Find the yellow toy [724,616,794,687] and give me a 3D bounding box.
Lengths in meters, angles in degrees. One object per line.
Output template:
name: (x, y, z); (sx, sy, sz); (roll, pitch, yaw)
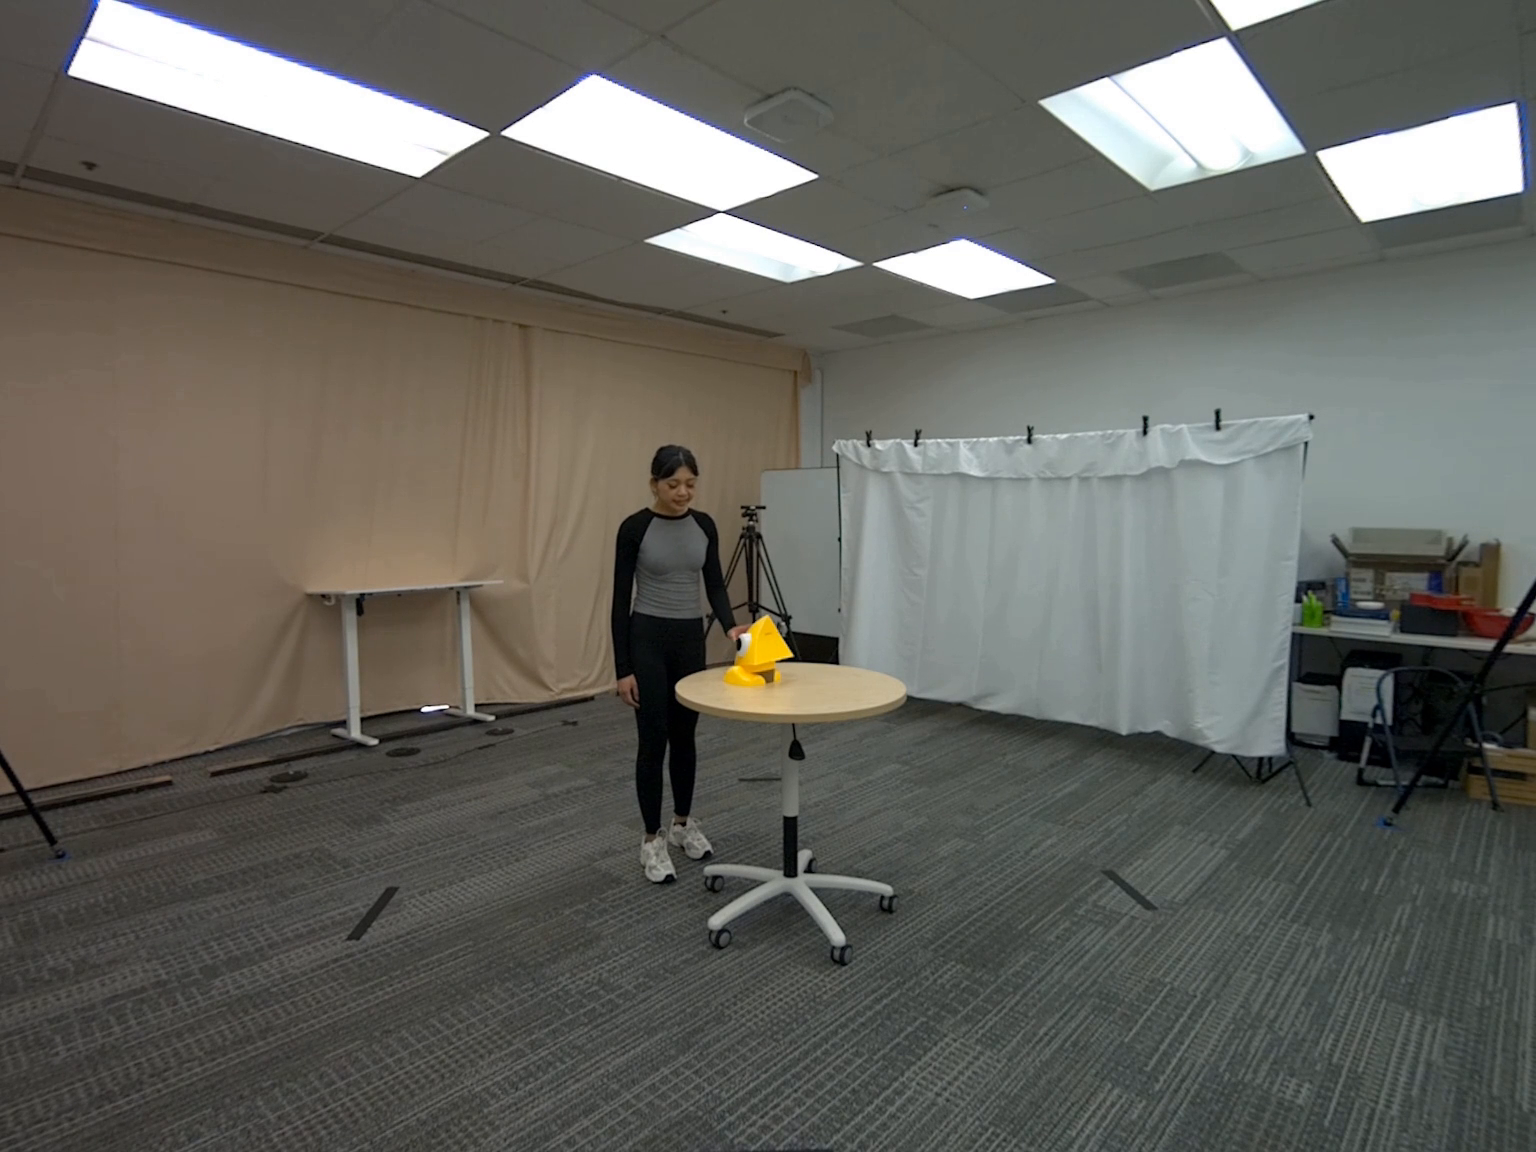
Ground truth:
yellow toy: (-0.042, 0.245, 2.898); (0.199, 0.230, 0.198); (4, 5, 43)
